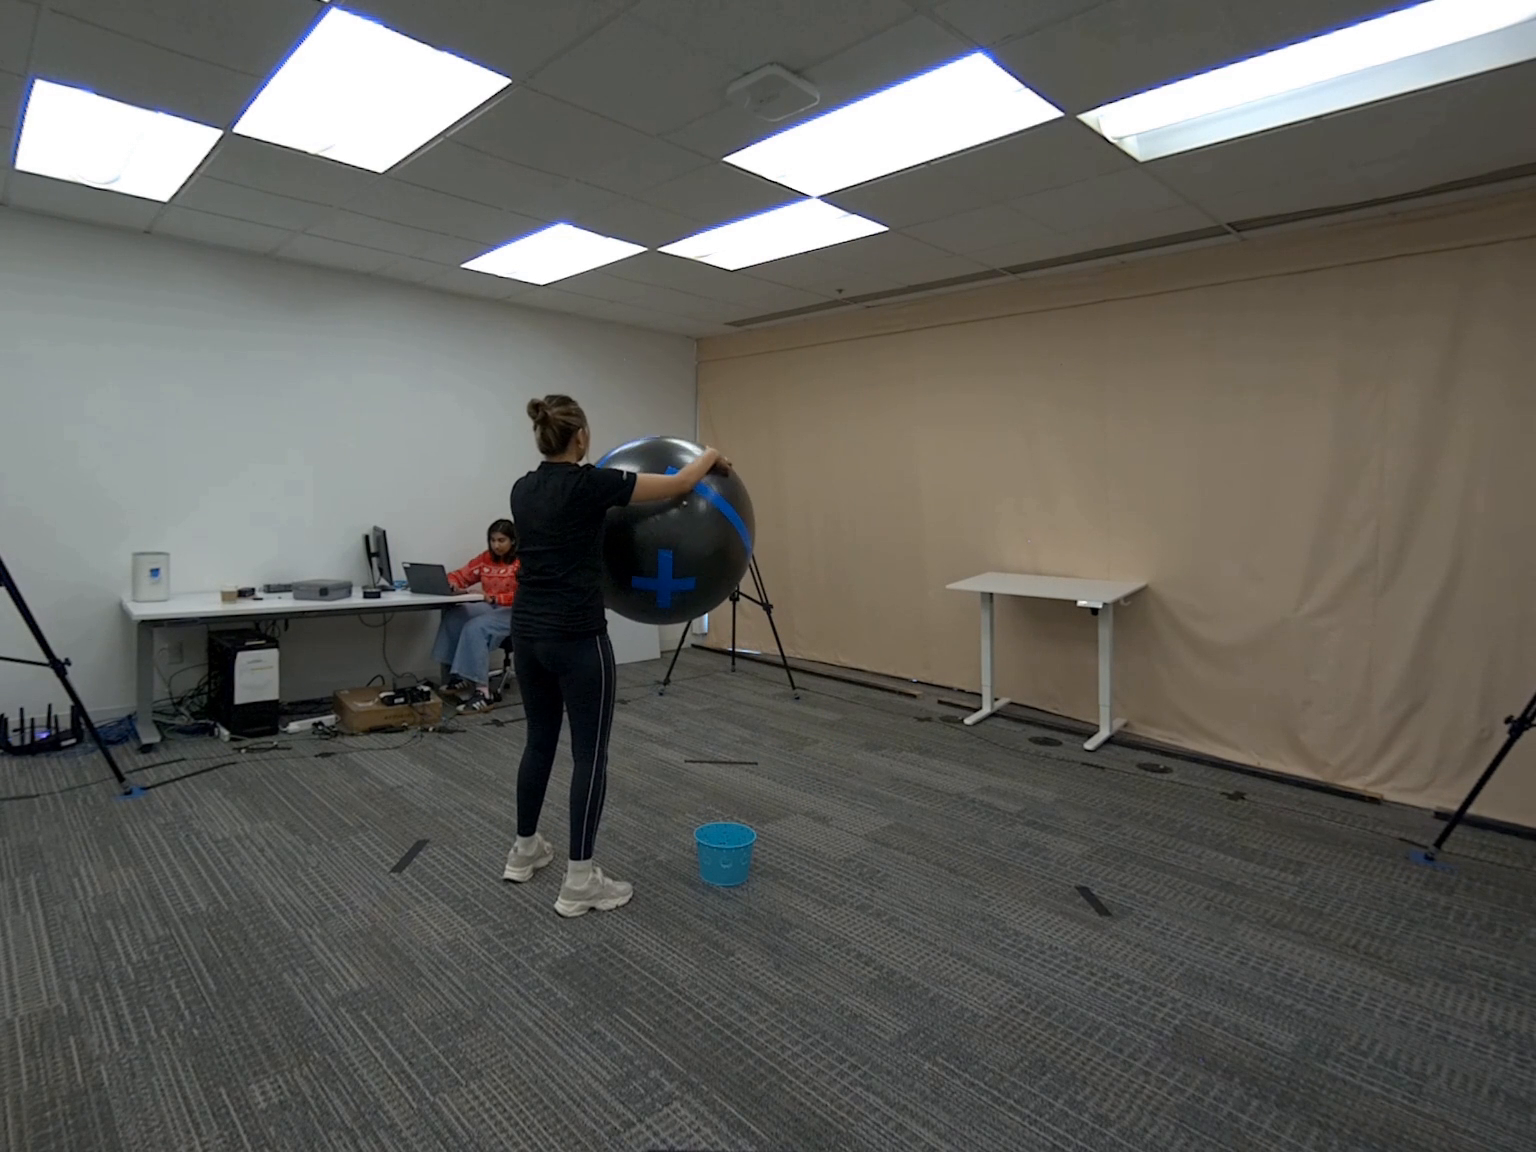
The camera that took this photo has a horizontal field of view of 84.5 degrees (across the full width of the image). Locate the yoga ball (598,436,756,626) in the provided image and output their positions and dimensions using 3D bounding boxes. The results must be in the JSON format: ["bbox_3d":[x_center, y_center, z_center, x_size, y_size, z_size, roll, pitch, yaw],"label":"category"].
[{"bbox_3d":[-0.431,-0.177,3.405,0.757,0.756,0.761,1,4,-1],"label":"yoga ball"}]
